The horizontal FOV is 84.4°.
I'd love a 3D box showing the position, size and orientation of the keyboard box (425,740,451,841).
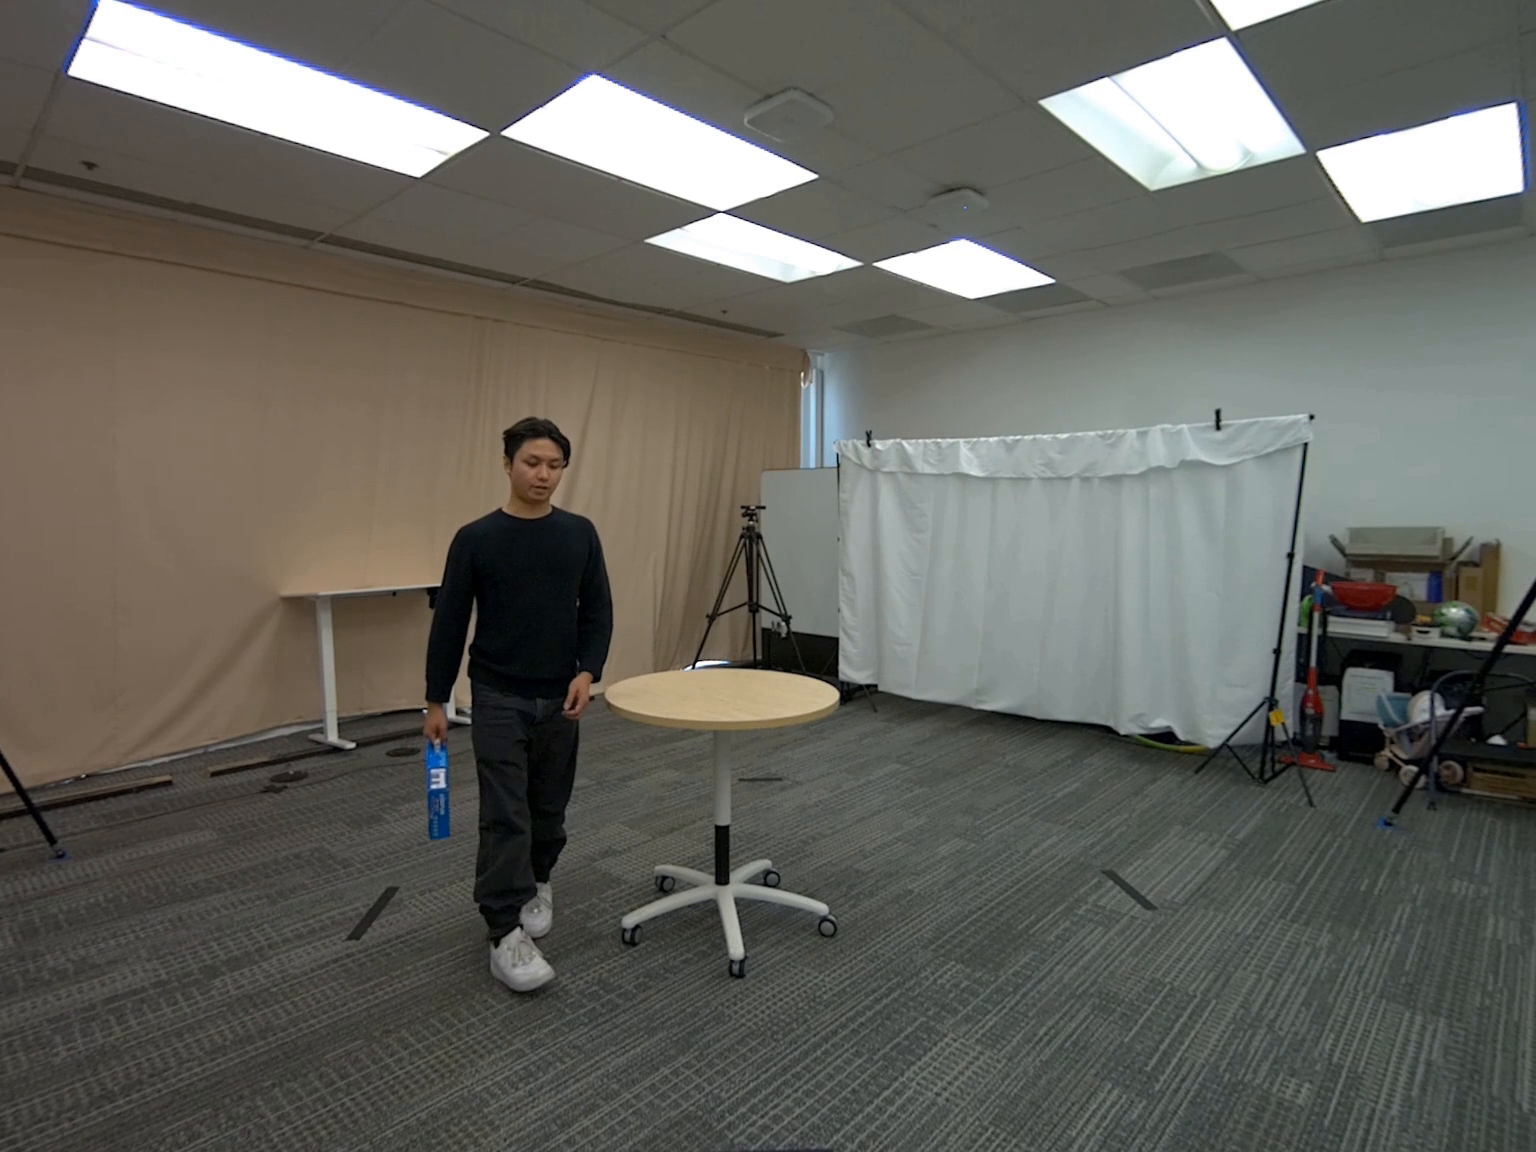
[{"bbox_3d":[-1.023,0.605,2.604,0.058,0.174,0.450,-2,24,-22],"label":"keyboard box"}]
